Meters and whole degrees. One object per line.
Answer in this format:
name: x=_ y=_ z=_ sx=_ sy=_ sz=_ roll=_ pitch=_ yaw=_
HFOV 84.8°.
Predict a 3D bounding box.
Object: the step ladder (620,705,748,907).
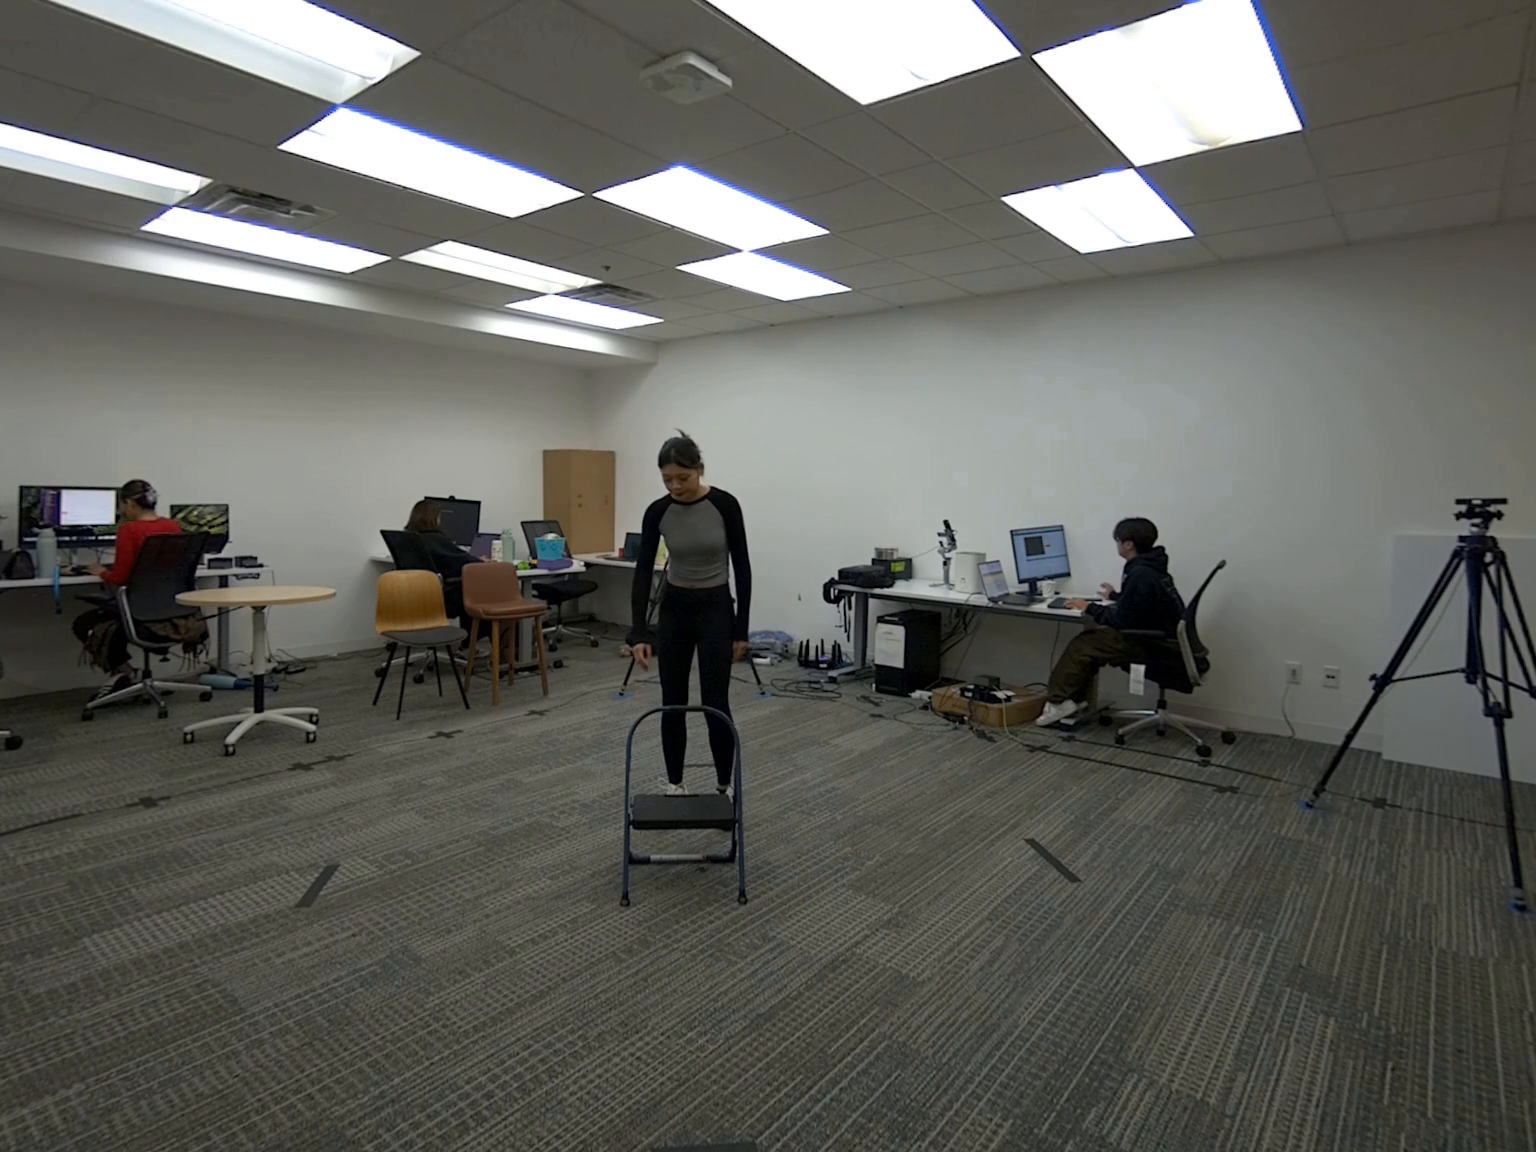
step ladder: x=-0.310 y=0.783 z=2.996 sx=0.428 sy=0.603 sz=0.352 roll=1 pitch=5 yaw=-5
